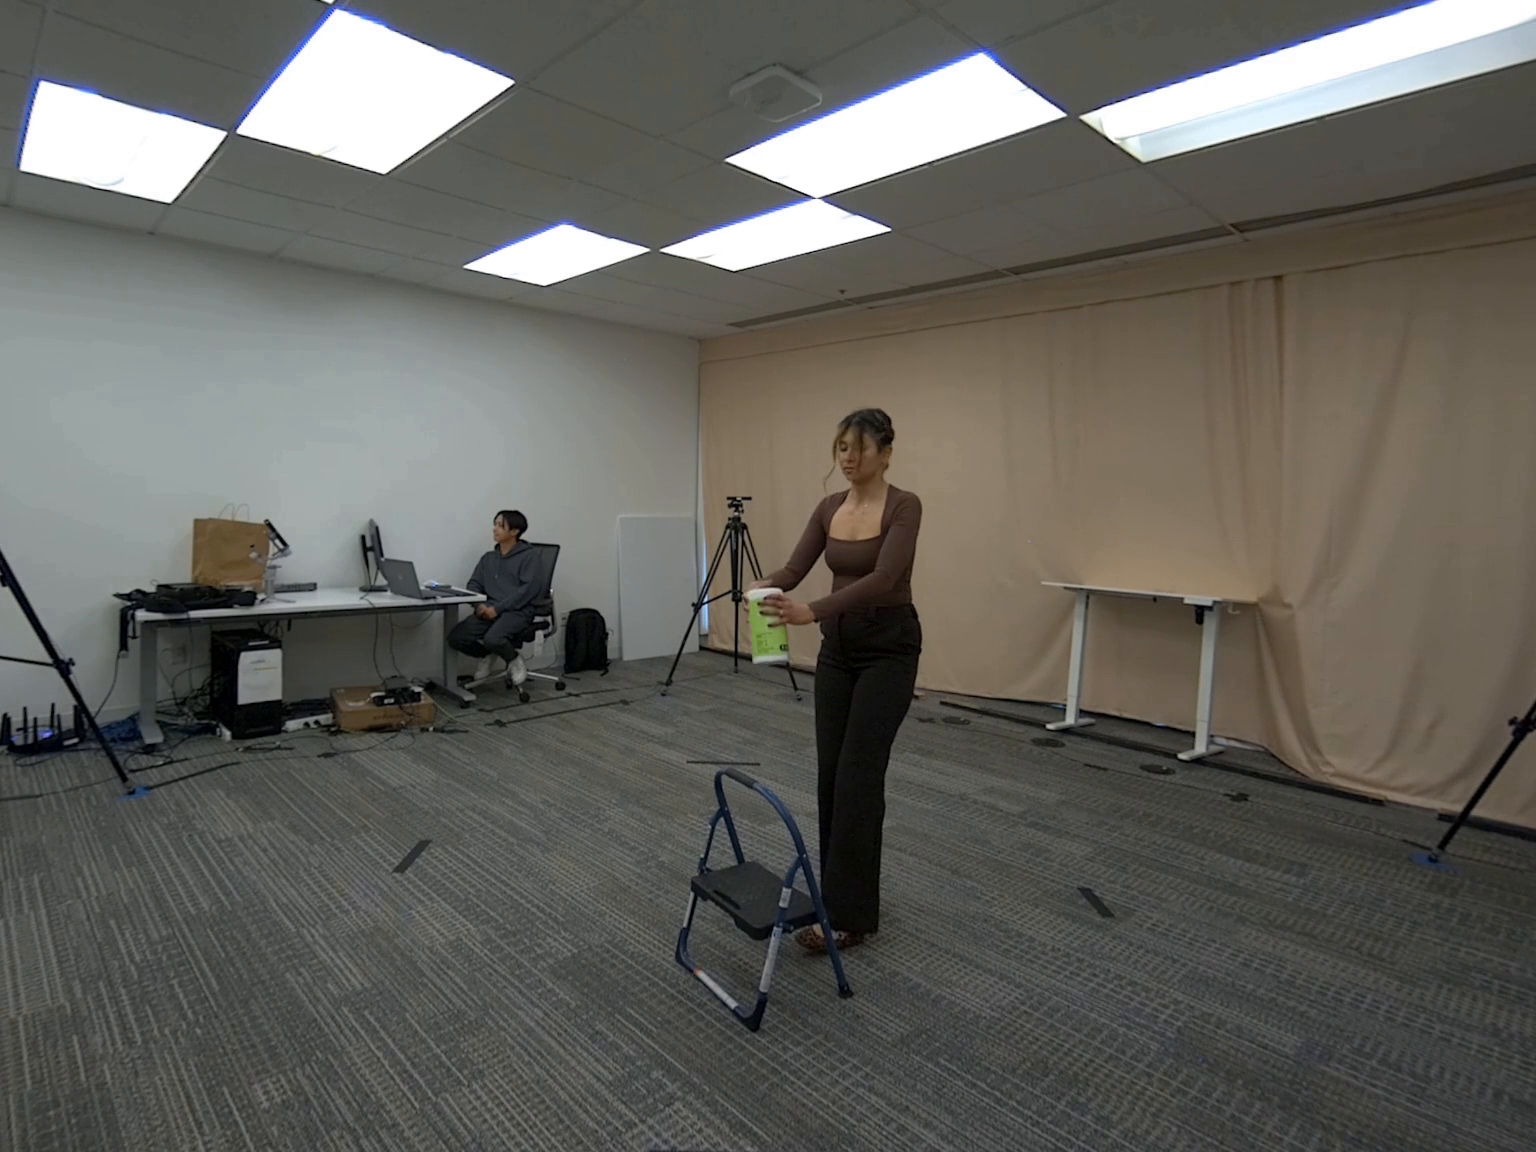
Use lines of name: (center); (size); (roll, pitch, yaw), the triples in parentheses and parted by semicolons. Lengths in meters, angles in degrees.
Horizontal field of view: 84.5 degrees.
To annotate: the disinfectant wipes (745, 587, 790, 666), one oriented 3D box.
disinfectant wipes: (-0.002, 0.156, 2.474); (0.117, 0.219, 0.117); (-5, -9, -2)
